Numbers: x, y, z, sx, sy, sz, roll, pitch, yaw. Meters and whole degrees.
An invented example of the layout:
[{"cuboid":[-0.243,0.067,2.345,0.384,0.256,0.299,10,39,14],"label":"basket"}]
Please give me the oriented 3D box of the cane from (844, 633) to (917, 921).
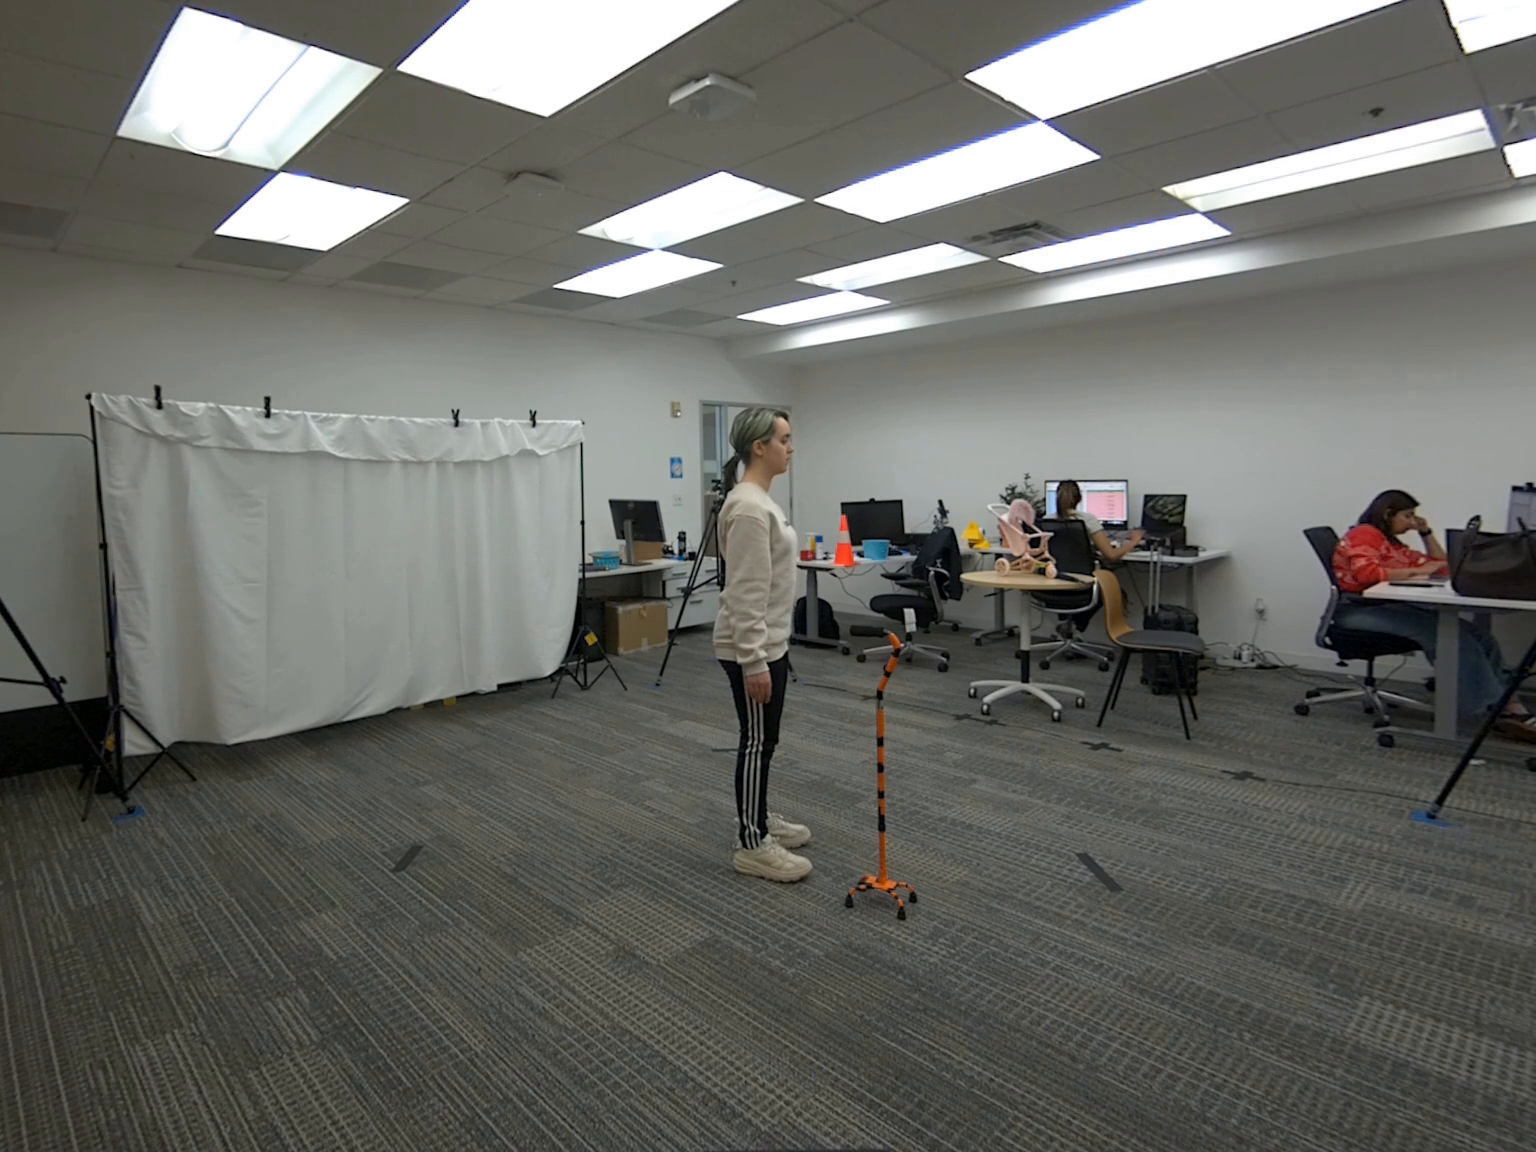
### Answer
[{"cuboid":[0.371,0.626,2.772,0.211,0.905,0.148,1,4,26],"label":"cane"}]
